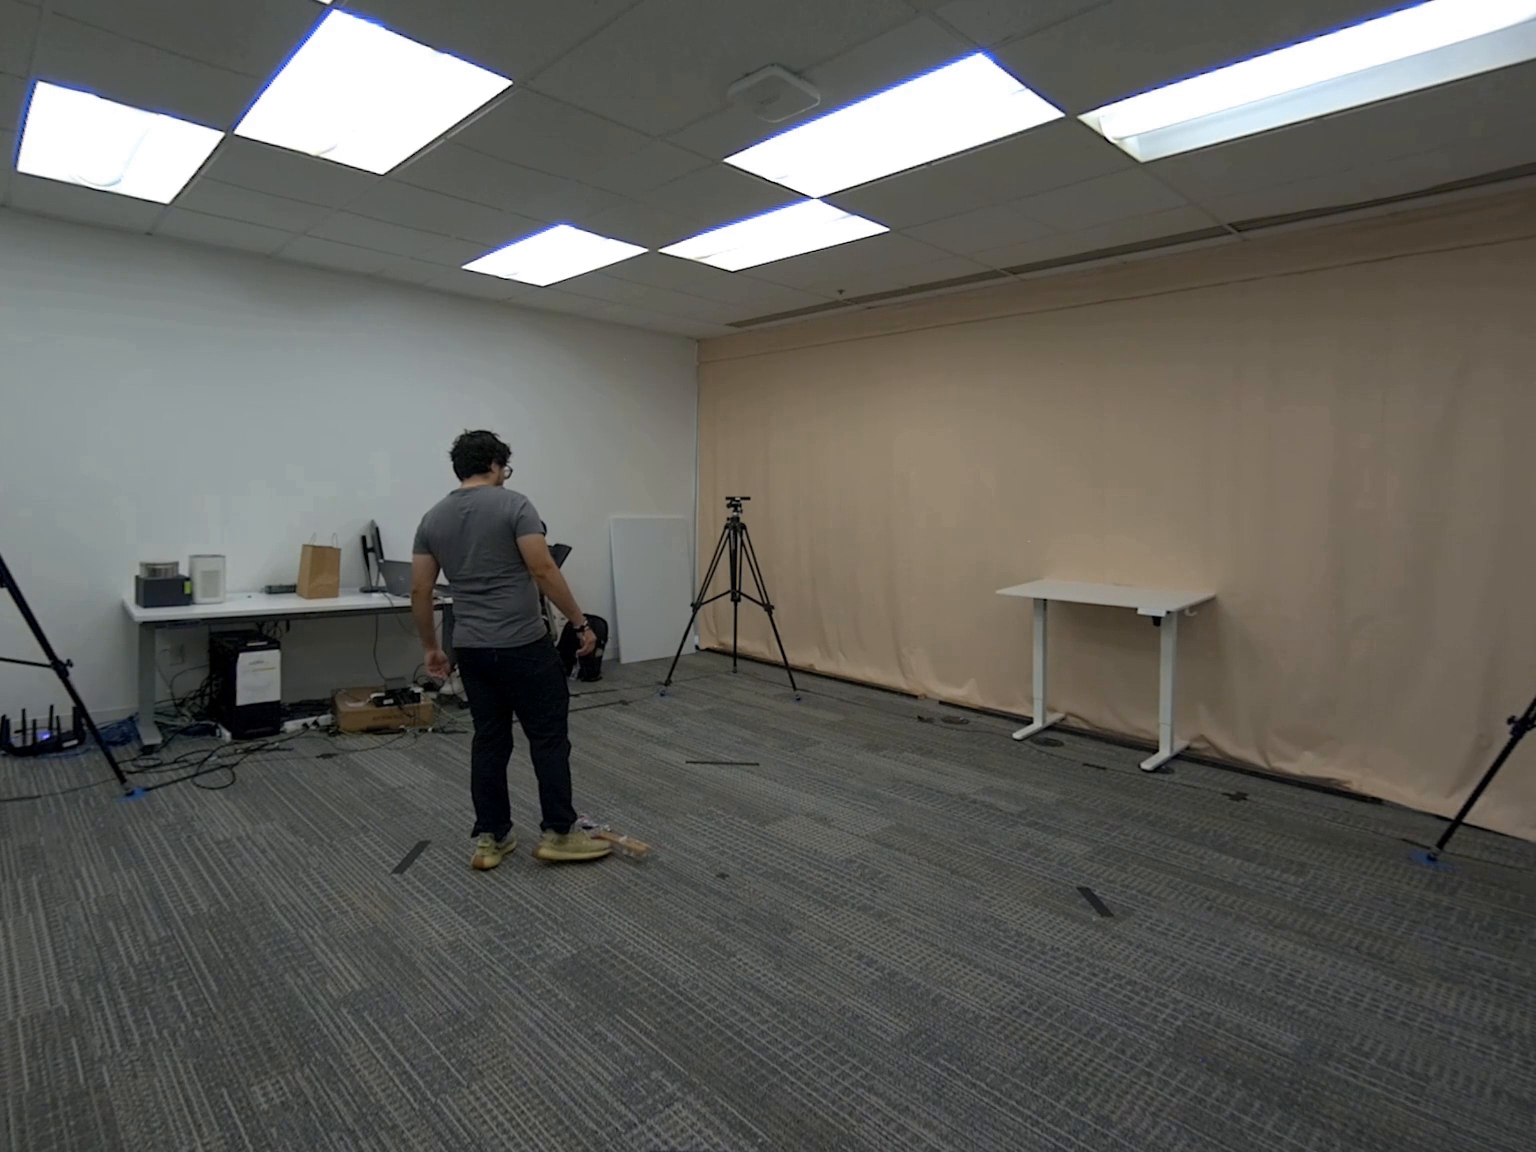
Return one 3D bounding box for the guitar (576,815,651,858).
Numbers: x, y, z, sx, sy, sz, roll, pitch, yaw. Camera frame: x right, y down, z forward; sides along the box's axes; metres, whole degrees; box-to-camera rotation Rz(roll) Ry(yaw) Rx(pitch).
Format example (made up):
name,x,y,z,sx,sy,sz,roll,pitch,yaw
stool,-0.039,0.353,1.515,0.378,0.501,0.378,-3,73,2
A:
name,x,y,z,sx,sy,sz,roll,pitch,yaw
guitar,-0.695,1.045,3.314,0.511,0.070,0.188,6,7,44
